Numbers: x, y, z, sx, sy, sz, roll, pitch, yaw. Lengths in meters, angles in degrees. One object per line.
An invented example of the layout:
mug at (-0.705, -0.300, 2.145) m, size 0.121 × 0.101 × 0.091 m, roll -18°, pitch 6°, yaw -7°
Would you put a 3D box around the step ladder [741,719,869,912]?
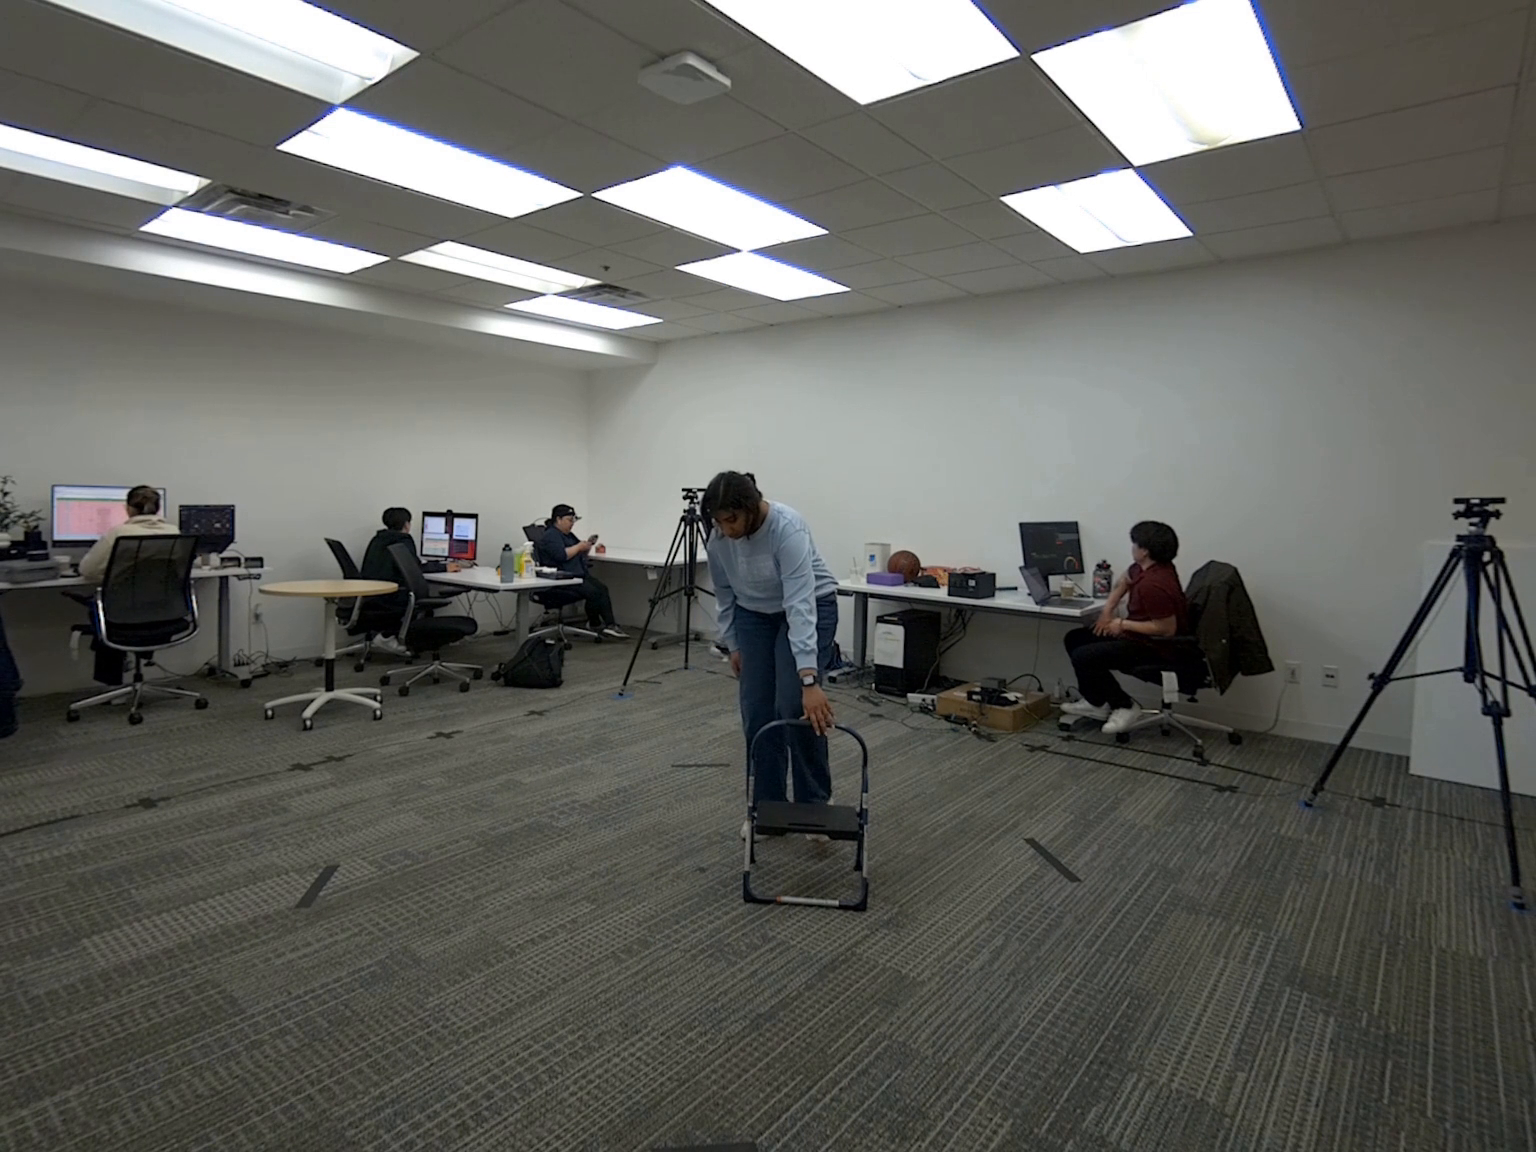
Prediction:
step ladder at (0.132, 0.787, 2.995) m, size 0.433 × 0.605 × 0.348 m, roll 1°, pitch 2°, yaw 4°
